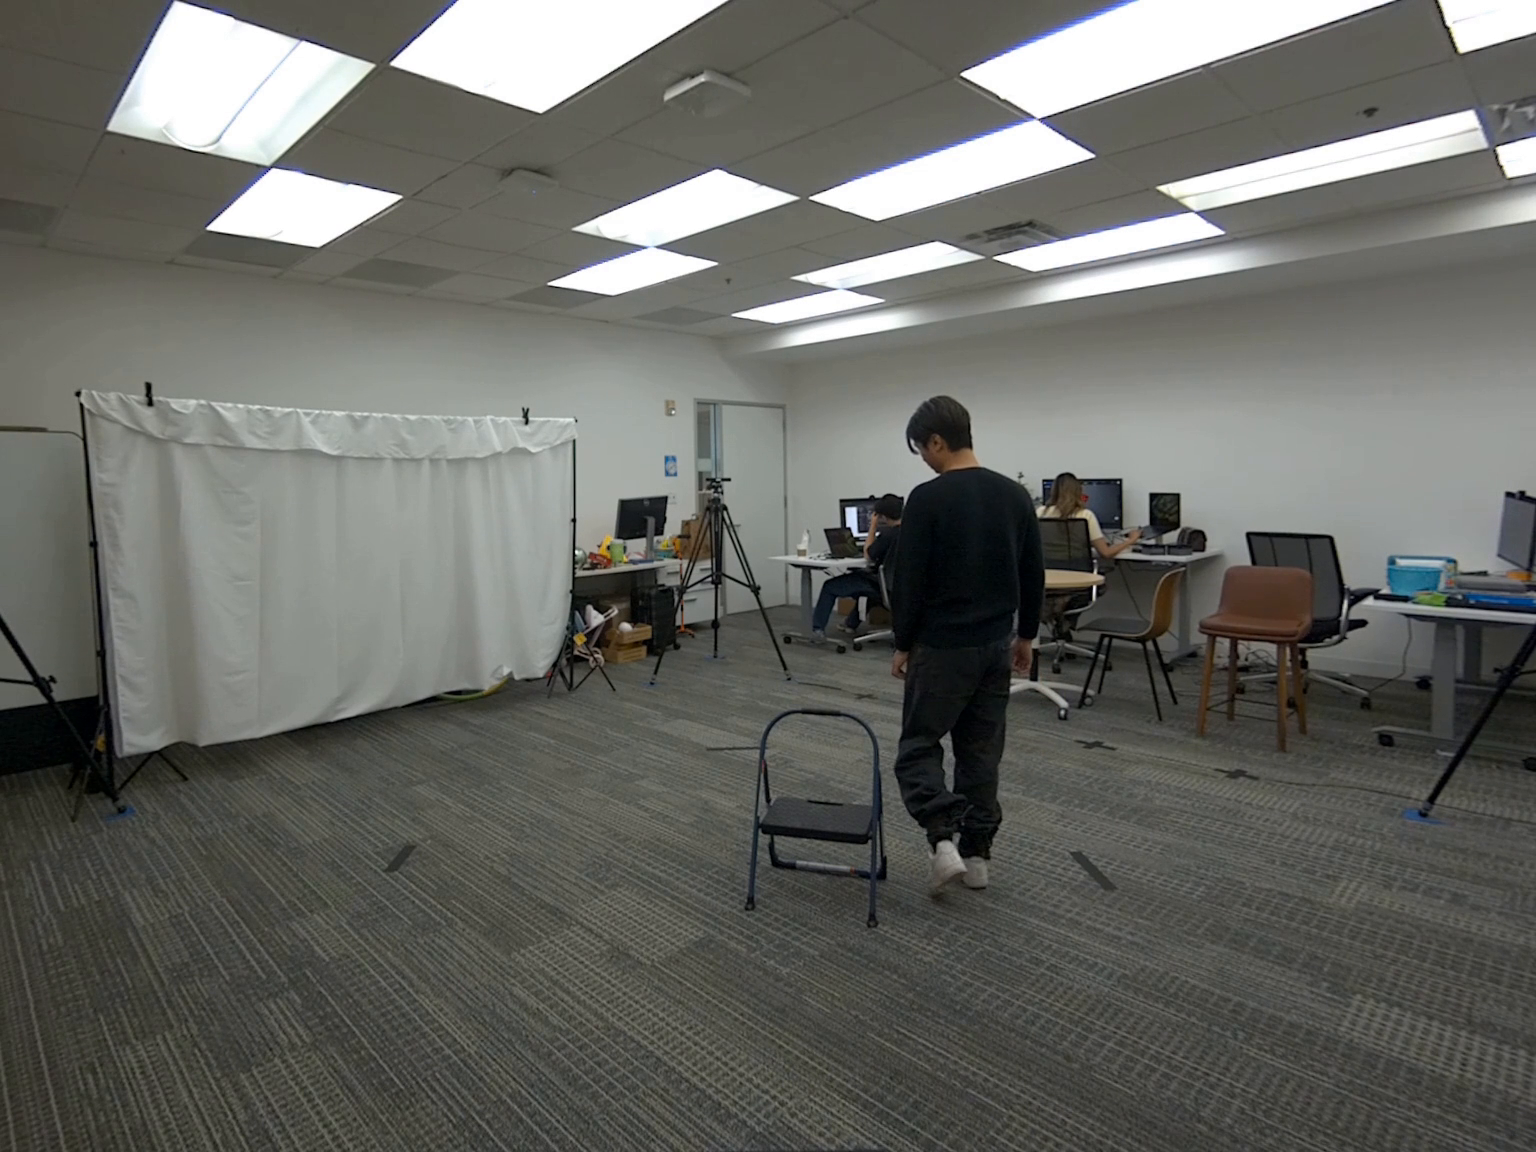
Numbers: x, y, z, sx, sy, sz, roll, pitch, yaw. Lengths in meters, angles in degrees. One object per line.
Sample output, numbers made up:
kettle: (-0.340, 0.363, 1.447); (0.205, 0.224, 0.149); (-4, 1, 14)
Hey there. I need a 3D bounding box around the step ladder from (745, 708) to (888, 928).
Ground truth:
step ladder: (0.170, 0.765, 2.849); (0.437, 0.604, 0.345); (1, 5, 15)
